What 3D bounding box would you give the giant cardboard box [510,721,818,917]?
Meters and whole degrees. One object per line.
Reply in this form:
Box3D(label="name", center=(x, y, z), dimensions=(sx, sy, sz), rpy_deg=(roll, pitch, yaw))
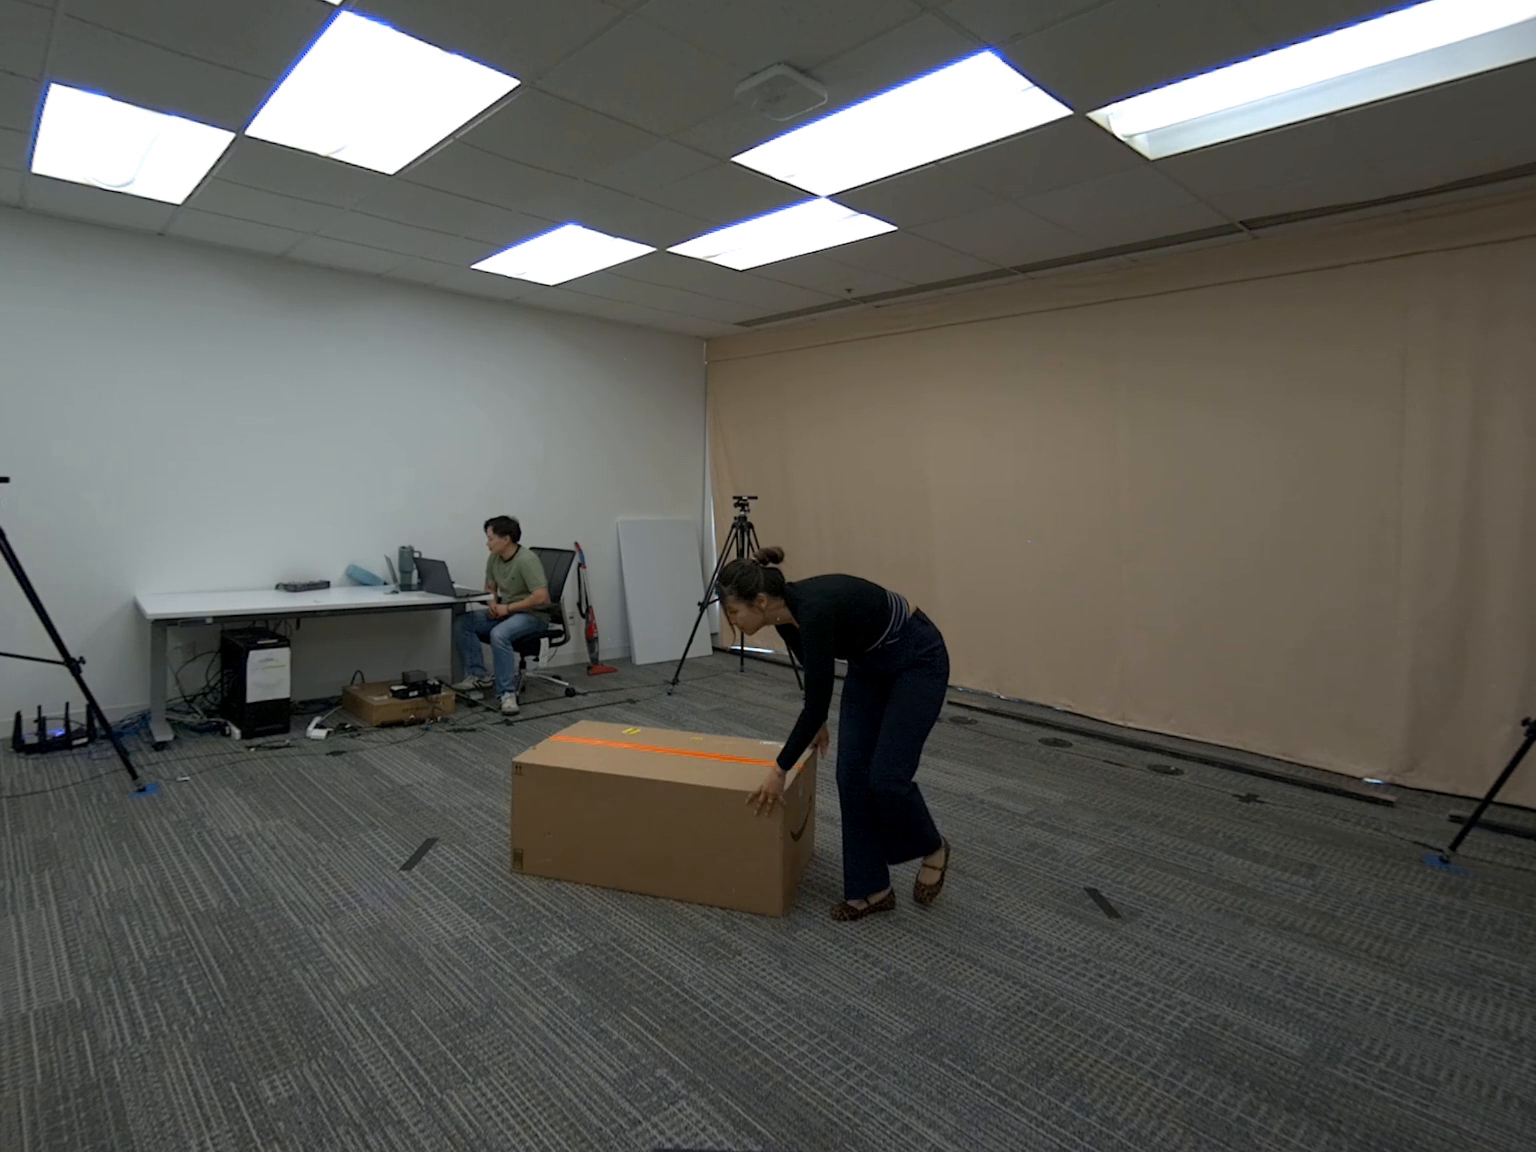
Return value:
Box3D(label="giant cardboard box", center=(-0.382, 0.871, 3.194), dimensions=(1.040, 0.425, 0.571), rpy_deg=(3, 5, 16))
